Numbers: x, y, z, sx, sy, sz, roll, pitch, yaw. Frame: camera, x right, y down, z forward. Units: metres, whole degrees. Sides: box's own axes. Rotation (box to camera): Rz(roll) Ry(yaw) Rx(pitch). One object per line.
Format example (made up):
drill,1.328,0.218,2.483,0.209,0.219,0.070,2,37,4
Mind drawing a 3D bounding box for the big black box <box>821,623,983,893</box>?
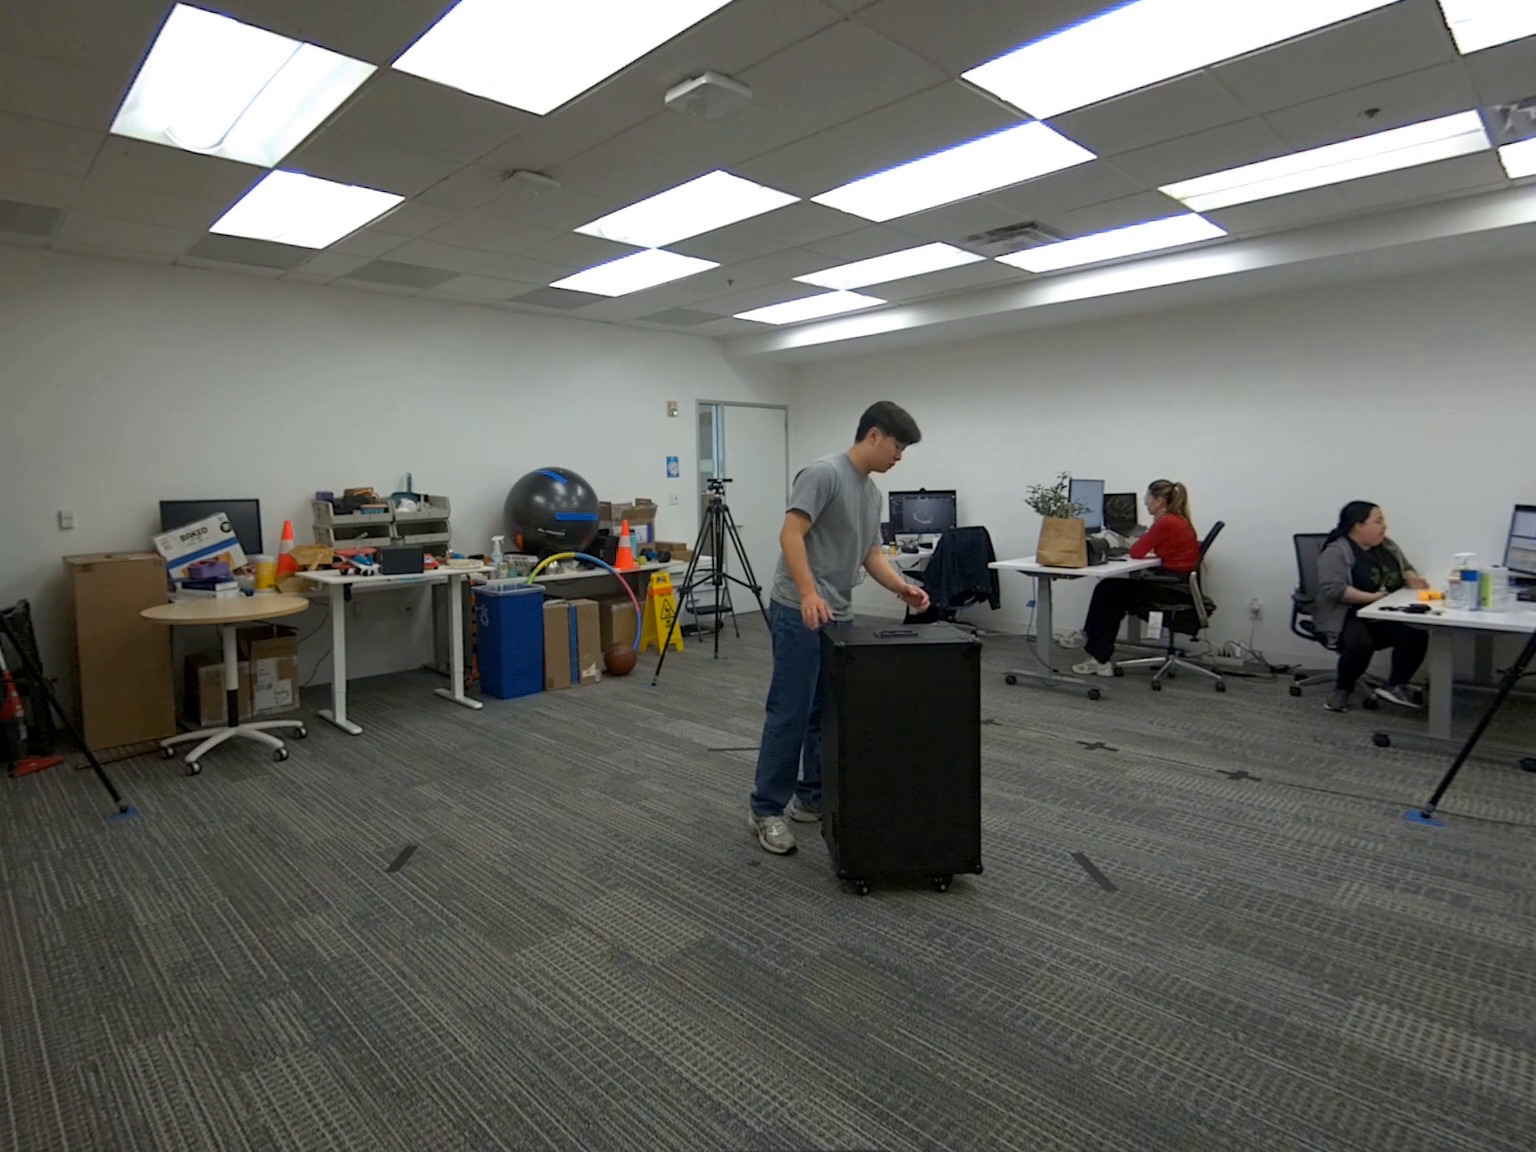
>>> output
big black box,0.455,0.625,2.995,0.519,0.859,0.399,-2,3,-4
